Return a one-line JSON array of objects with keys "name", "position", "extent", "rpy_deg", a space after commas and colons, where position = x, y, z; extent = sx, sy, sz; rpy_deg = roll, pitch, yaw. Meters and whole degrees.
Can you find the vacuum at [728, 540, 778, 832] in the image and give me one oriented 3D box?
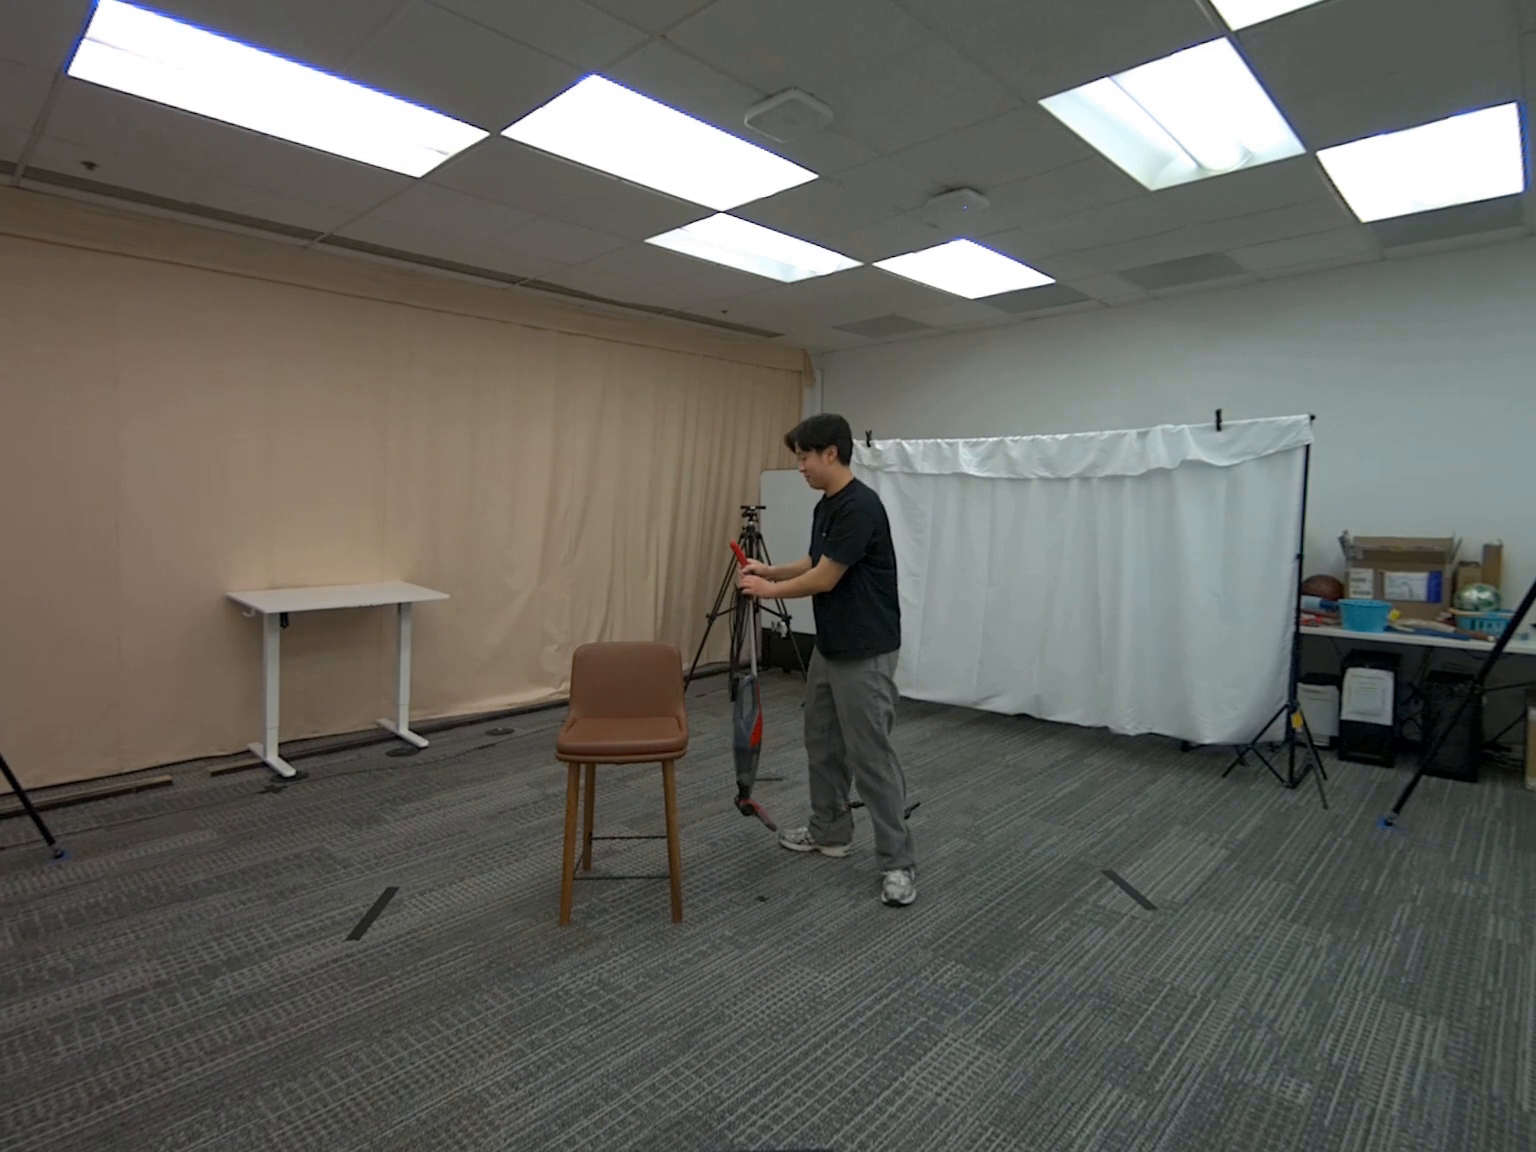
[{"name": "vacuum", "position": [-0.095, 0.402, 3.249], "extent": [0.144, 1.046, 0.254], "rpy_deg": [-6, 4, -3]}]
